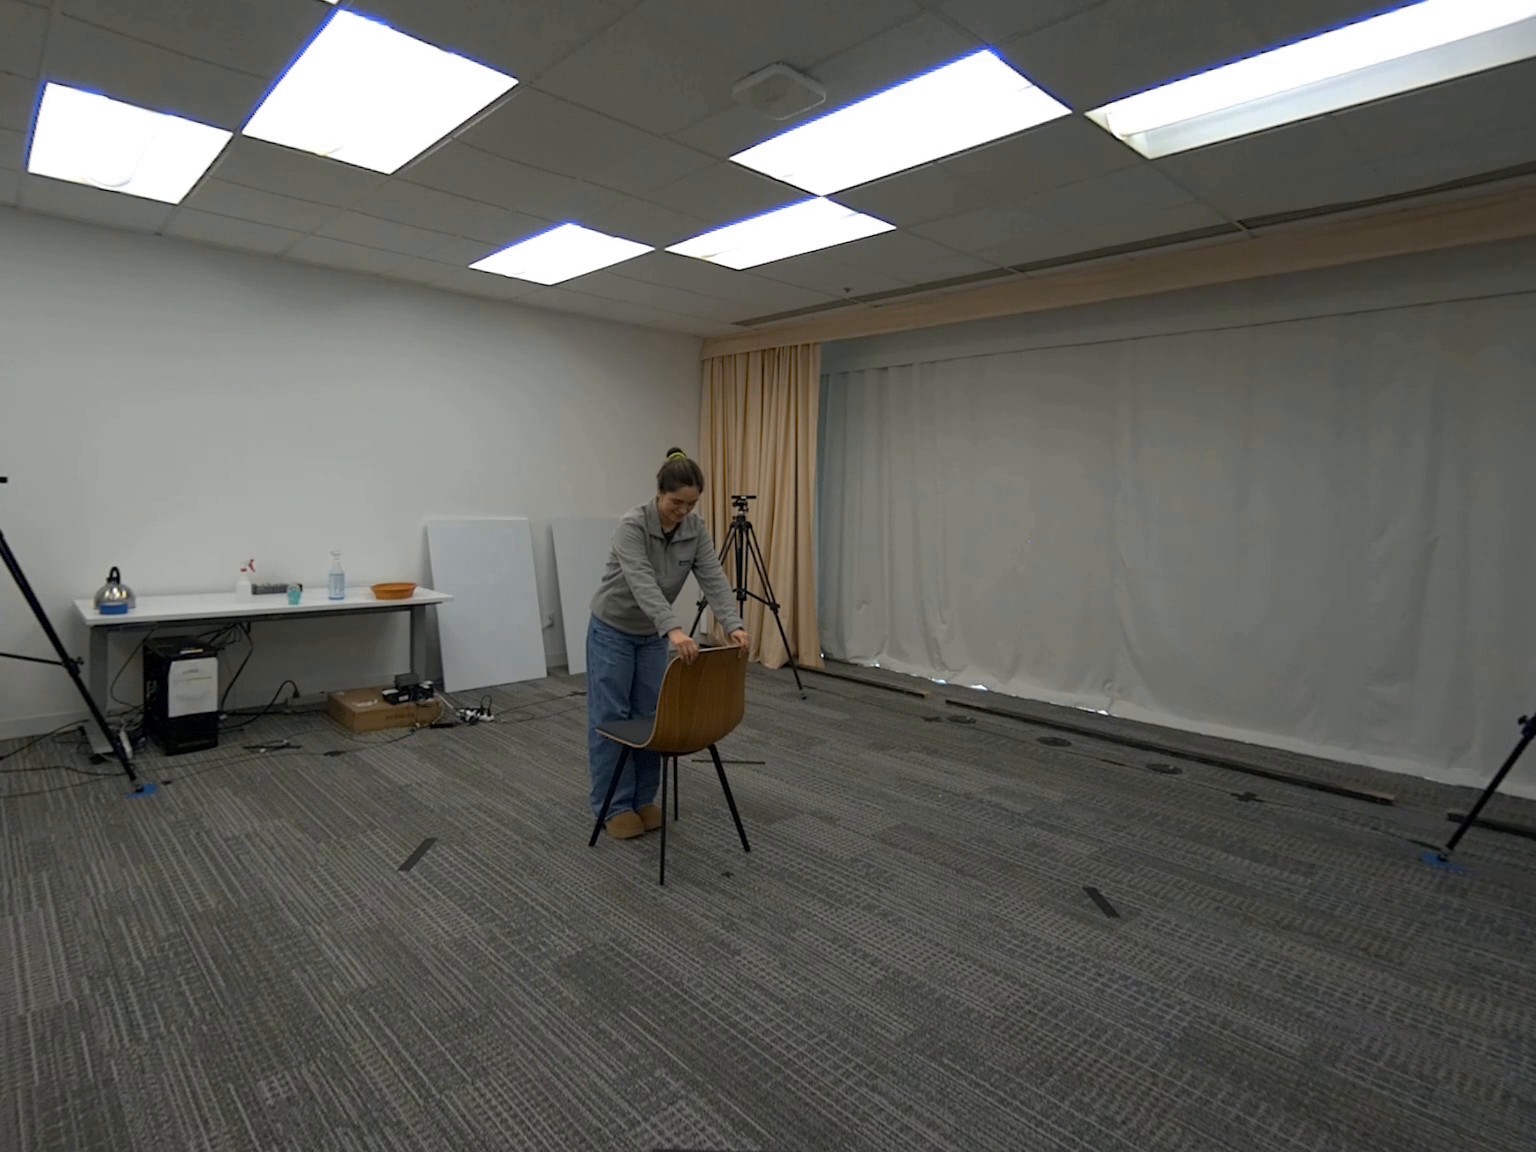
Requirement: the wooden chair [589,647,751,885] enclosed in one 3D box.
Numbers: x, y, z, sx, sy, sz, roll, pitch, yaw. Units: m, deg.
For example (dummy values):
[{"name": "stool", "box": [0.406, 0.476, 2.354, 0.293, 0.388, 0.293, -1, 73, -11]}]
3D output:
[{"name": "wooden chair", "box": [-0.383, 0.654, 3.285, 0.467, 0.873, 0.537, -2, 9, -45]}]
